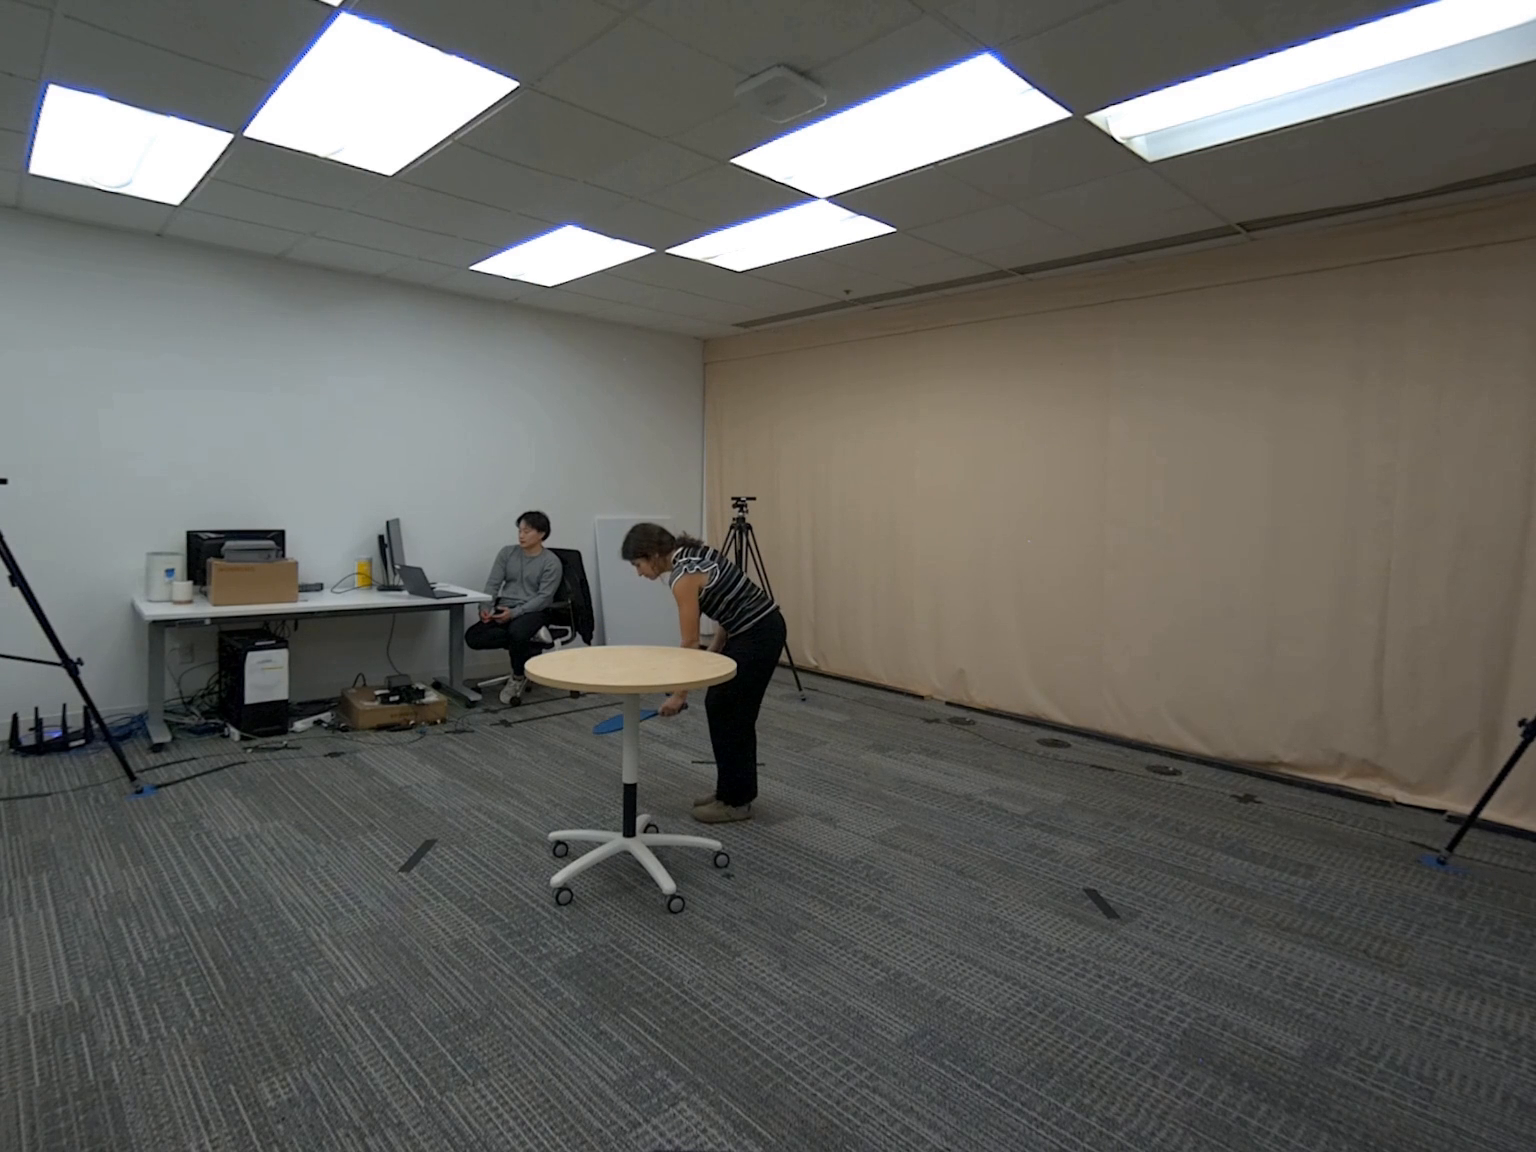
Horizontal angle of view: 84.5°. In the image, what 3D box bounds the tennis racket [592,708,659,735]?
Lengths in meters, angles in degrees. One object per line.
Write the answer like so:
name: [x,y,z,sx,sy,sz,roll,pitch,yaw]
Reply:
tennis racket: [-0.561,0.598,3.606,0.435,0.031,0.214,-14,9,9]
